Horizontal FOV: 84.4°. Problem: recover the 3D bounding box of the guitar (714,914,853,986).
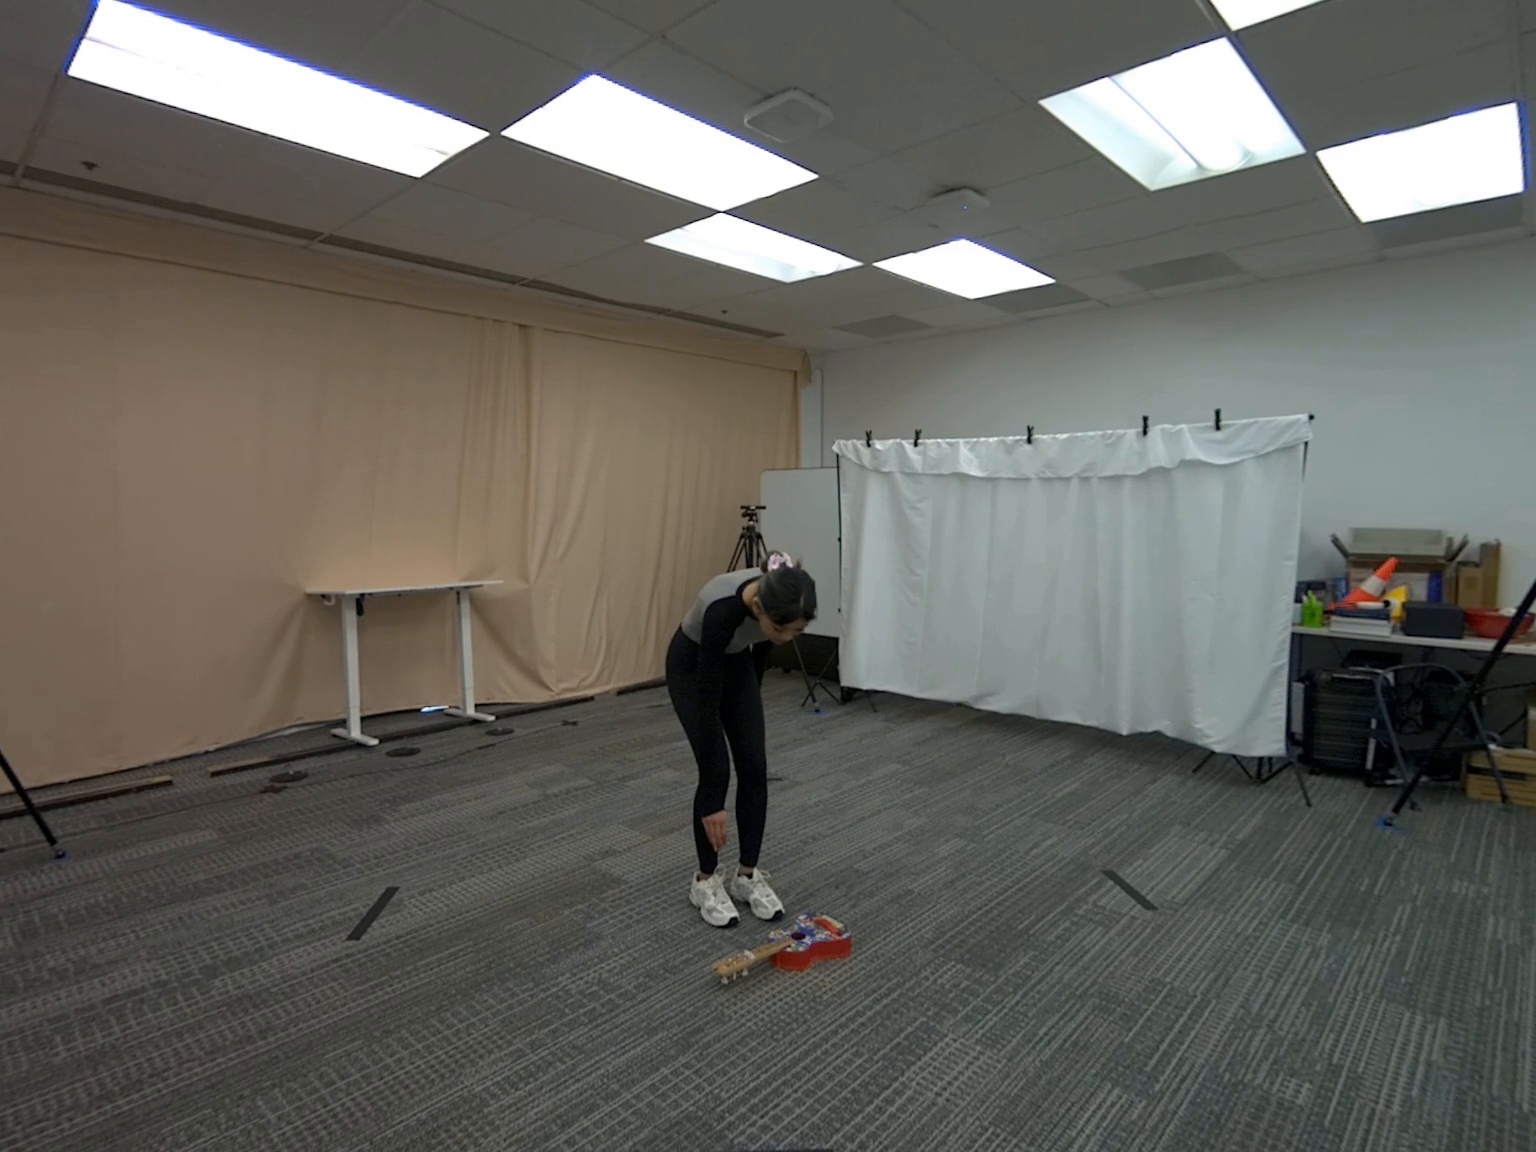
[{"bbox_3d":[0.027,1.142,2.587,0.485,0.070,0.199,-2,5,-29],"label":"guitar"}]
